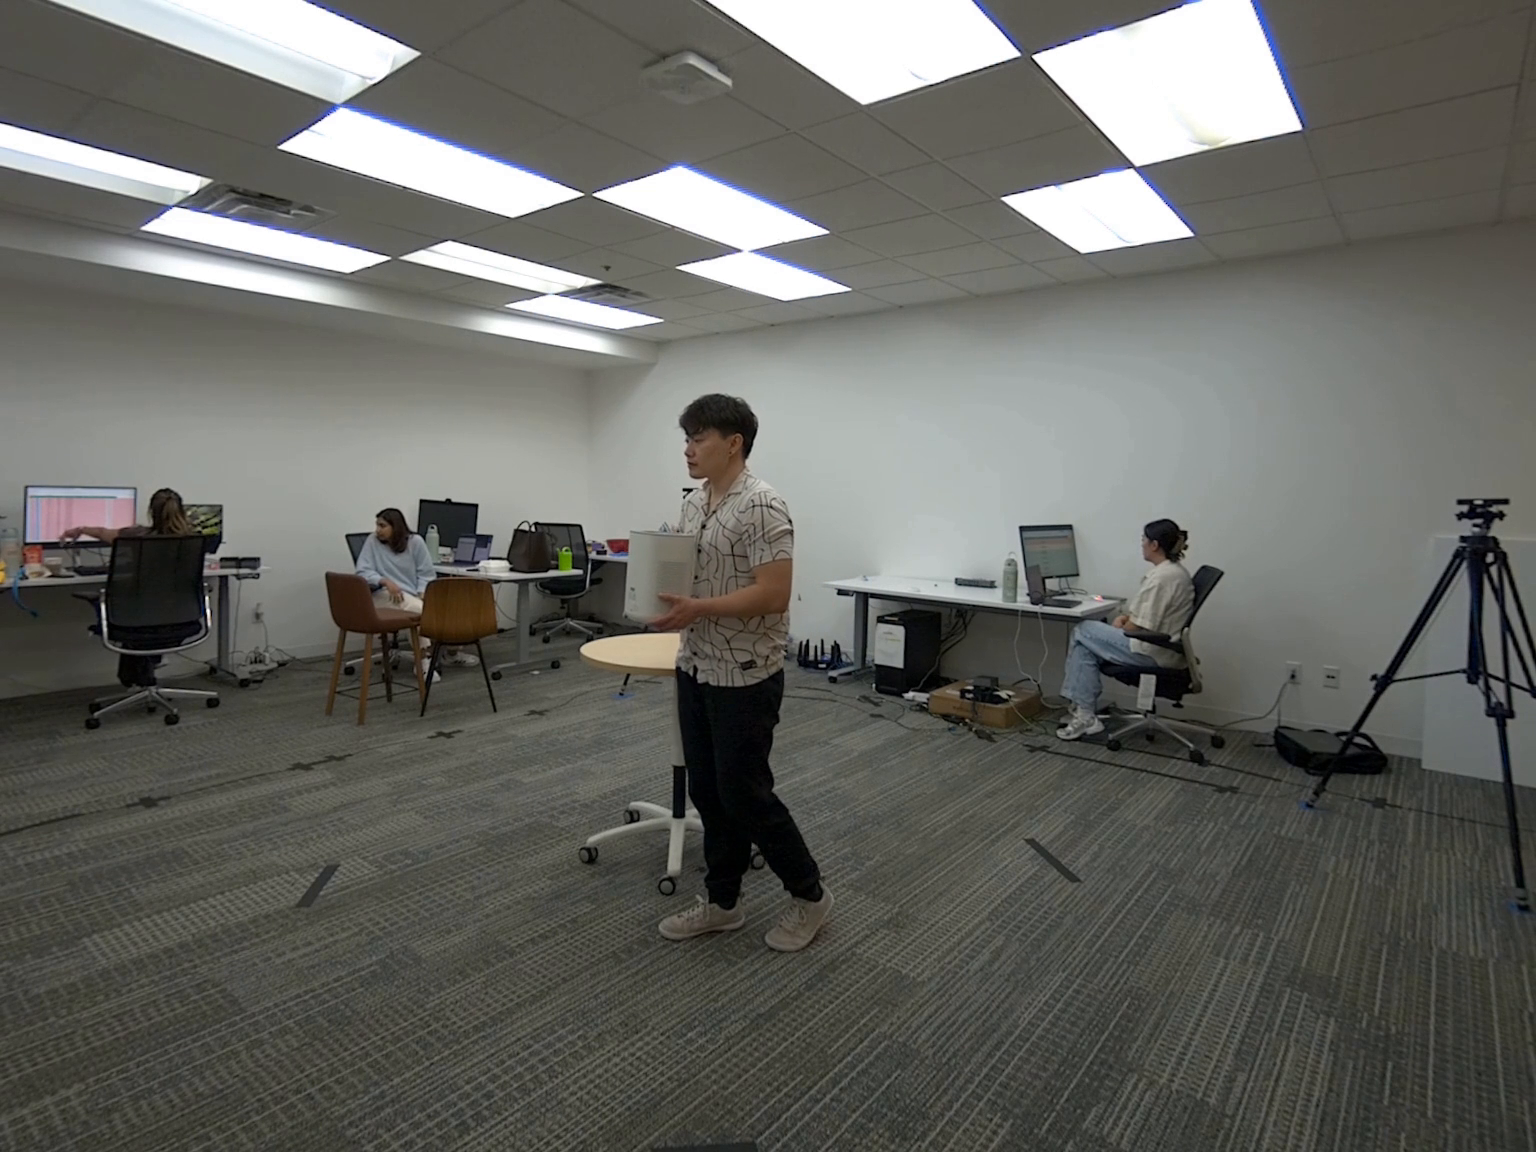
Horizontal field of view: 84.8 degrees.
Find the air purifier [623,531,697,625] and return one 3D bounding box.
[{"bbox_3d":[-0.336,0.004,2.526,0.167,0.265,0.176,3,4,-30],"label":"air purifier"}]
